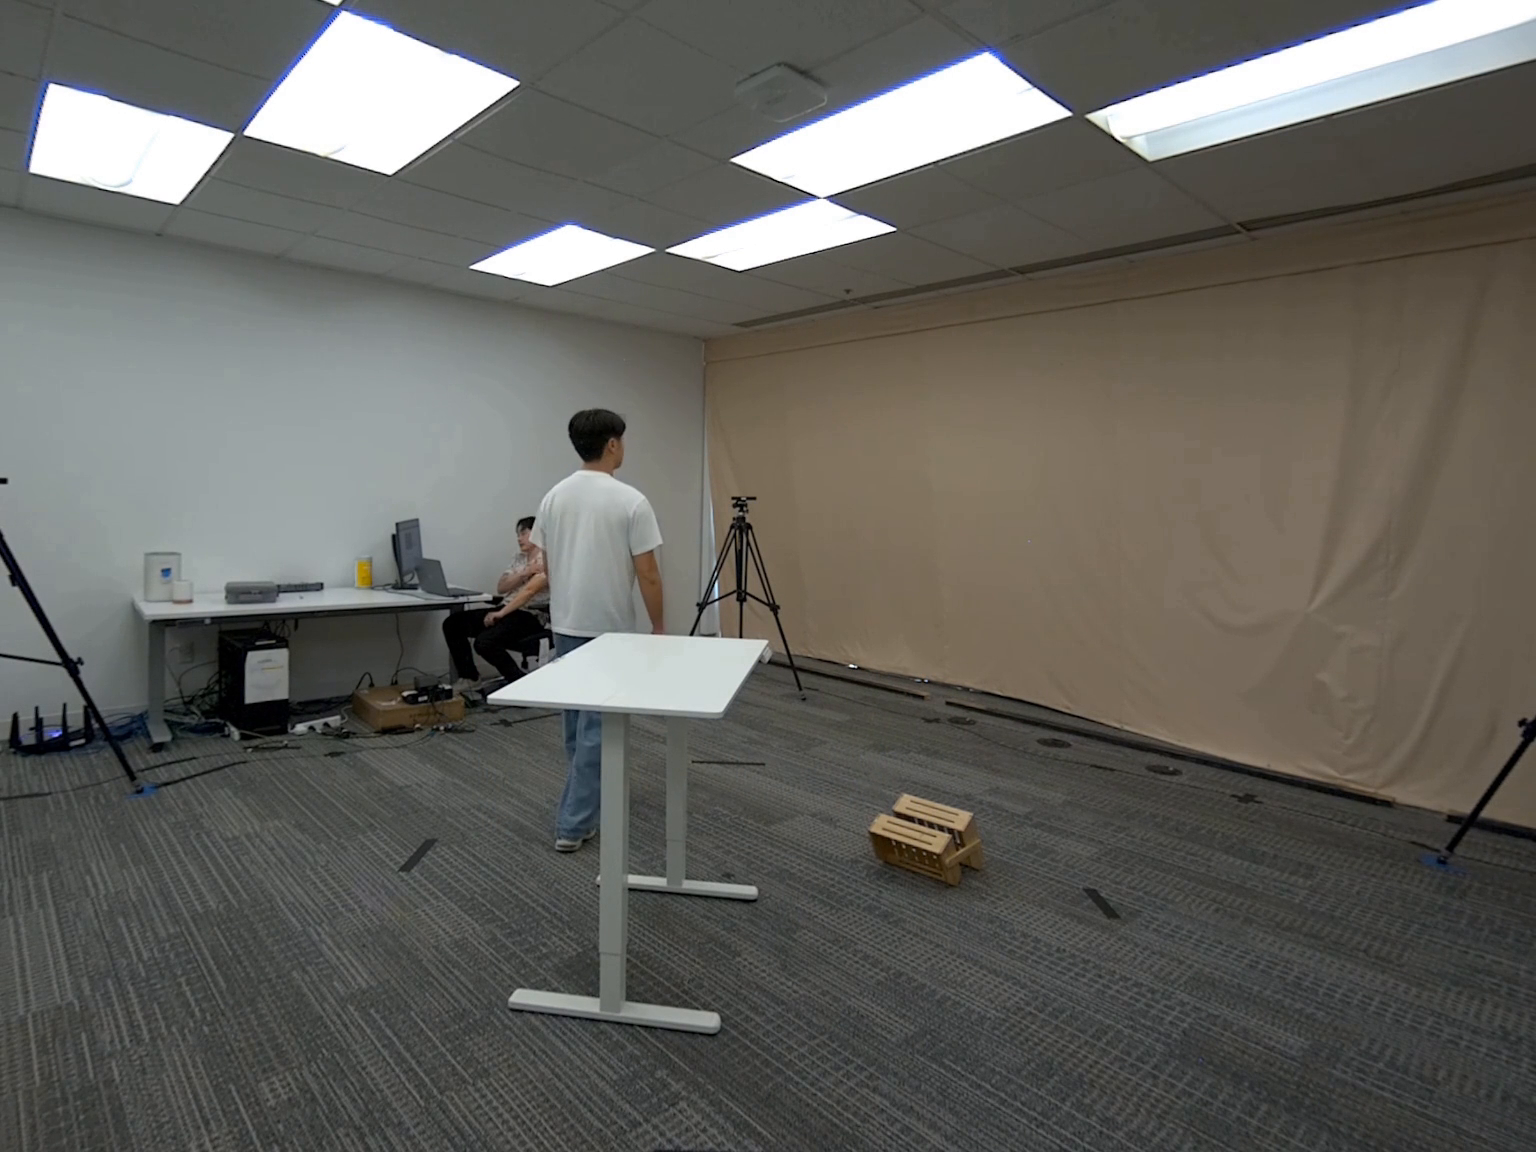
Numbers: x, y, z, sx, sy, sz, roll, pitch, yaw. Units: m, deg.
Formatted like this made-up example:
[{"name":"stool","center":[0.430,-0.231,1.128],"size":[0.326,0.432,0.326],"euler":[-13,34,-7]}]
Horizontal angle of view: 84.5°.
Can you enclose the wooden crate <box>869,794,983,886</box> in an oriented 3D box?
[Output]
[{"name":"wooden crate","center":[0.592,1.027,3.193],"size":[0.332,0.296,0.272],"euler":[5,33,40]}]
